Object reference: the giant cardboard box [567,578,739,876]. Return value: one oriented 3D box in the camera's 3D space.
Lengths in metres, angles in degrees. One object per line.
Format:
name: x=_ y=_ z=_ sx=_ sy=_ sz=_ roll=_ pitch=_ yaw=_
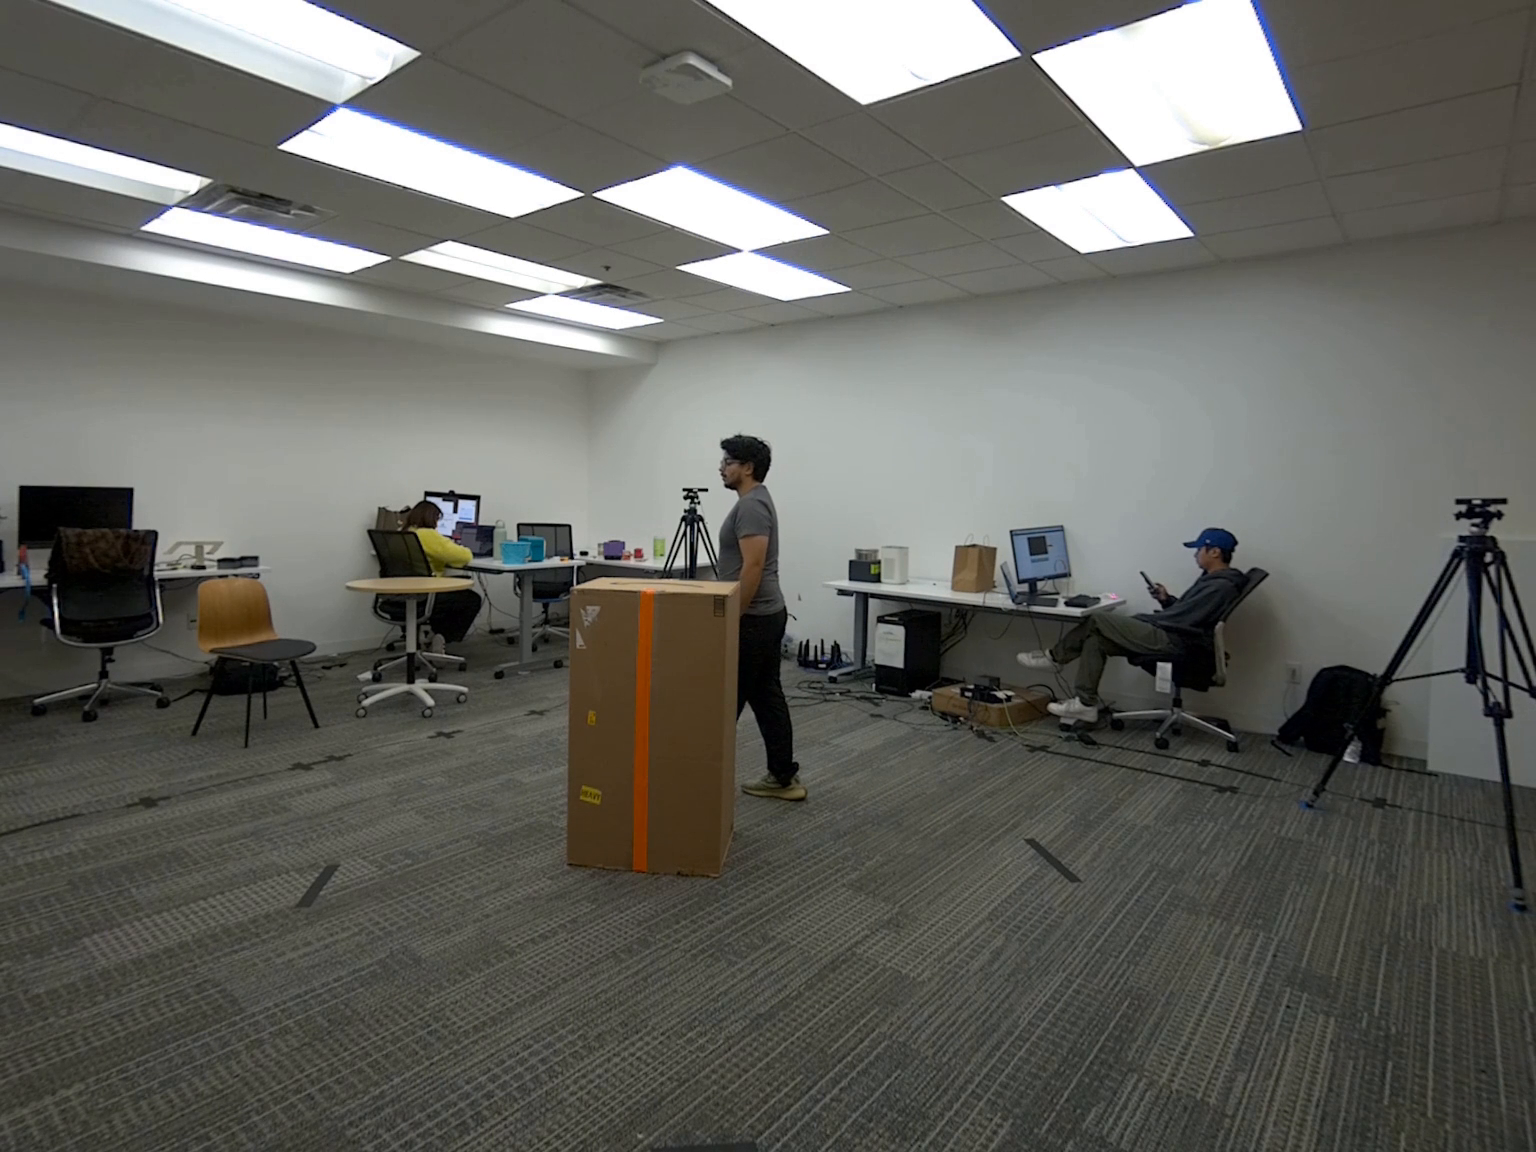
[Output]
giant cardboard box: x=-0.440 y=0.538 z=3.259 sx=0.583 sy=1.023 sz=0.423 roll=2 pitch=3 yaw=8
